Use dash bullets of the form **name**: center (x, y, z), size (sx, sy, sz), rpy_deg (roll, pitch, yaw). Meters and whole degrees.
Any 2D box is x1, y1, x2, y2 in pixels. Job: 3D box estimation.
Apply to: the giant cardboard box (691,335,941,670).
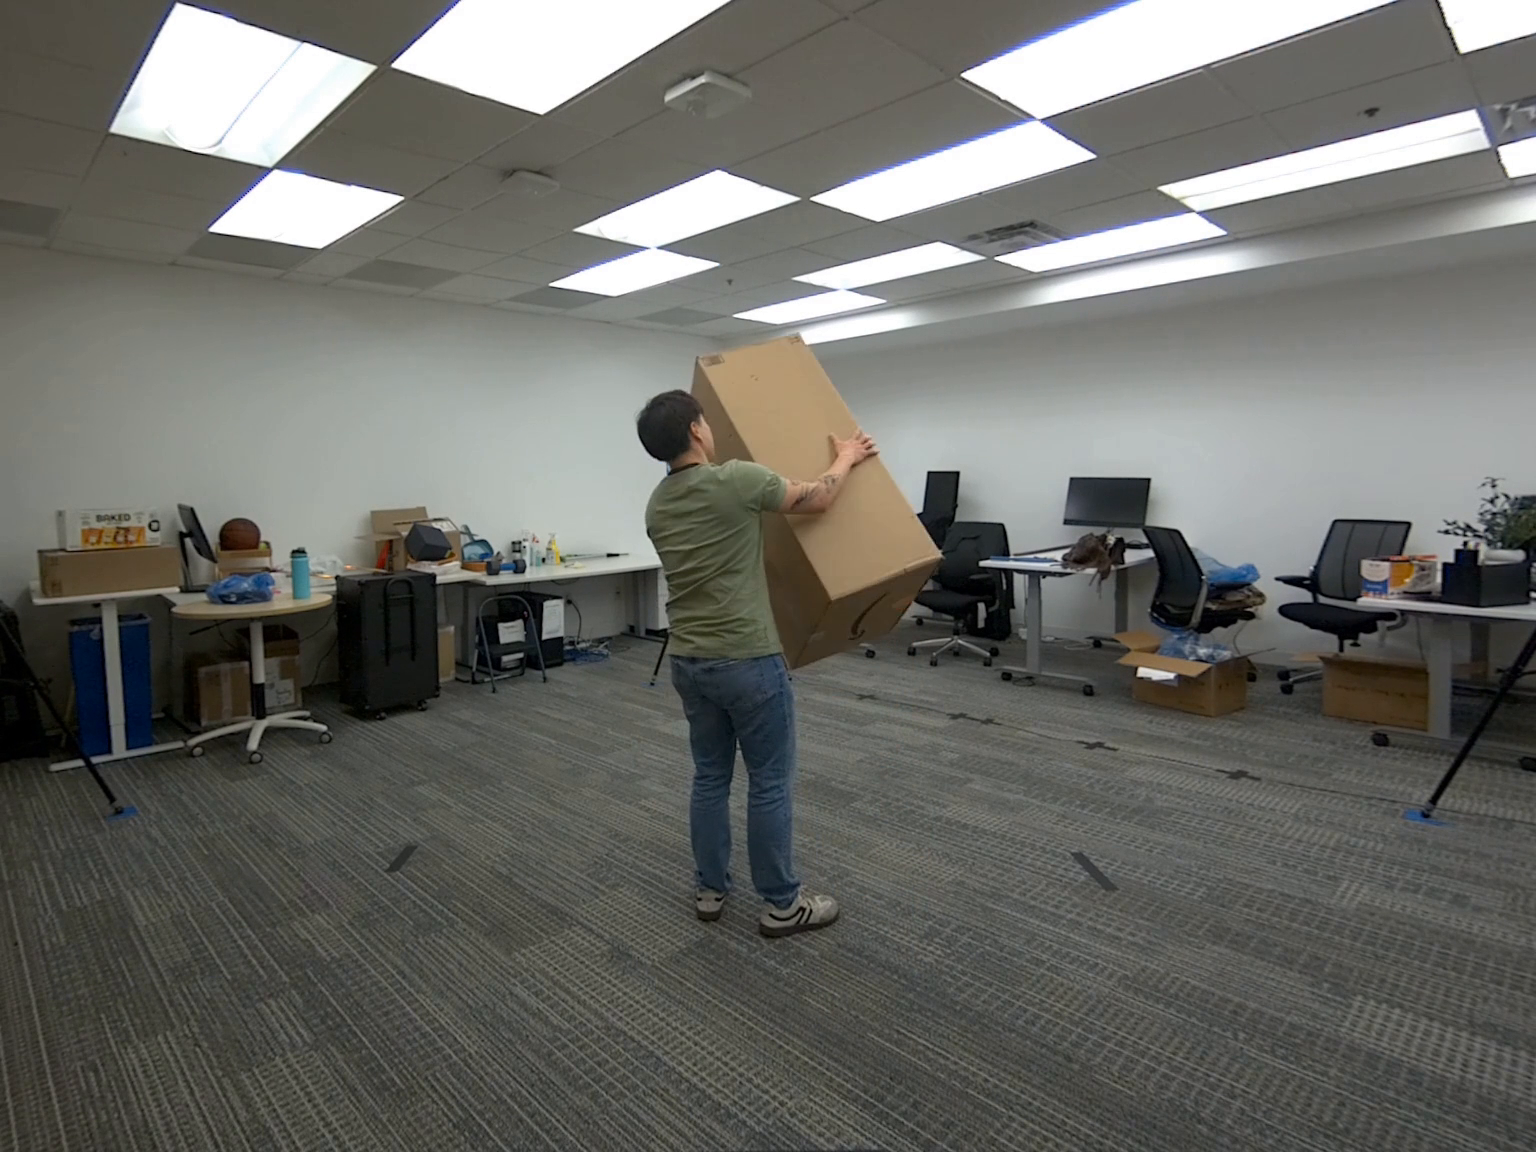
- **giant cardboard box**: center (0.104, -0.265, 3.121), size (0.421, 1.055, 0.568), rpy_deg (-18, -26, -21)
